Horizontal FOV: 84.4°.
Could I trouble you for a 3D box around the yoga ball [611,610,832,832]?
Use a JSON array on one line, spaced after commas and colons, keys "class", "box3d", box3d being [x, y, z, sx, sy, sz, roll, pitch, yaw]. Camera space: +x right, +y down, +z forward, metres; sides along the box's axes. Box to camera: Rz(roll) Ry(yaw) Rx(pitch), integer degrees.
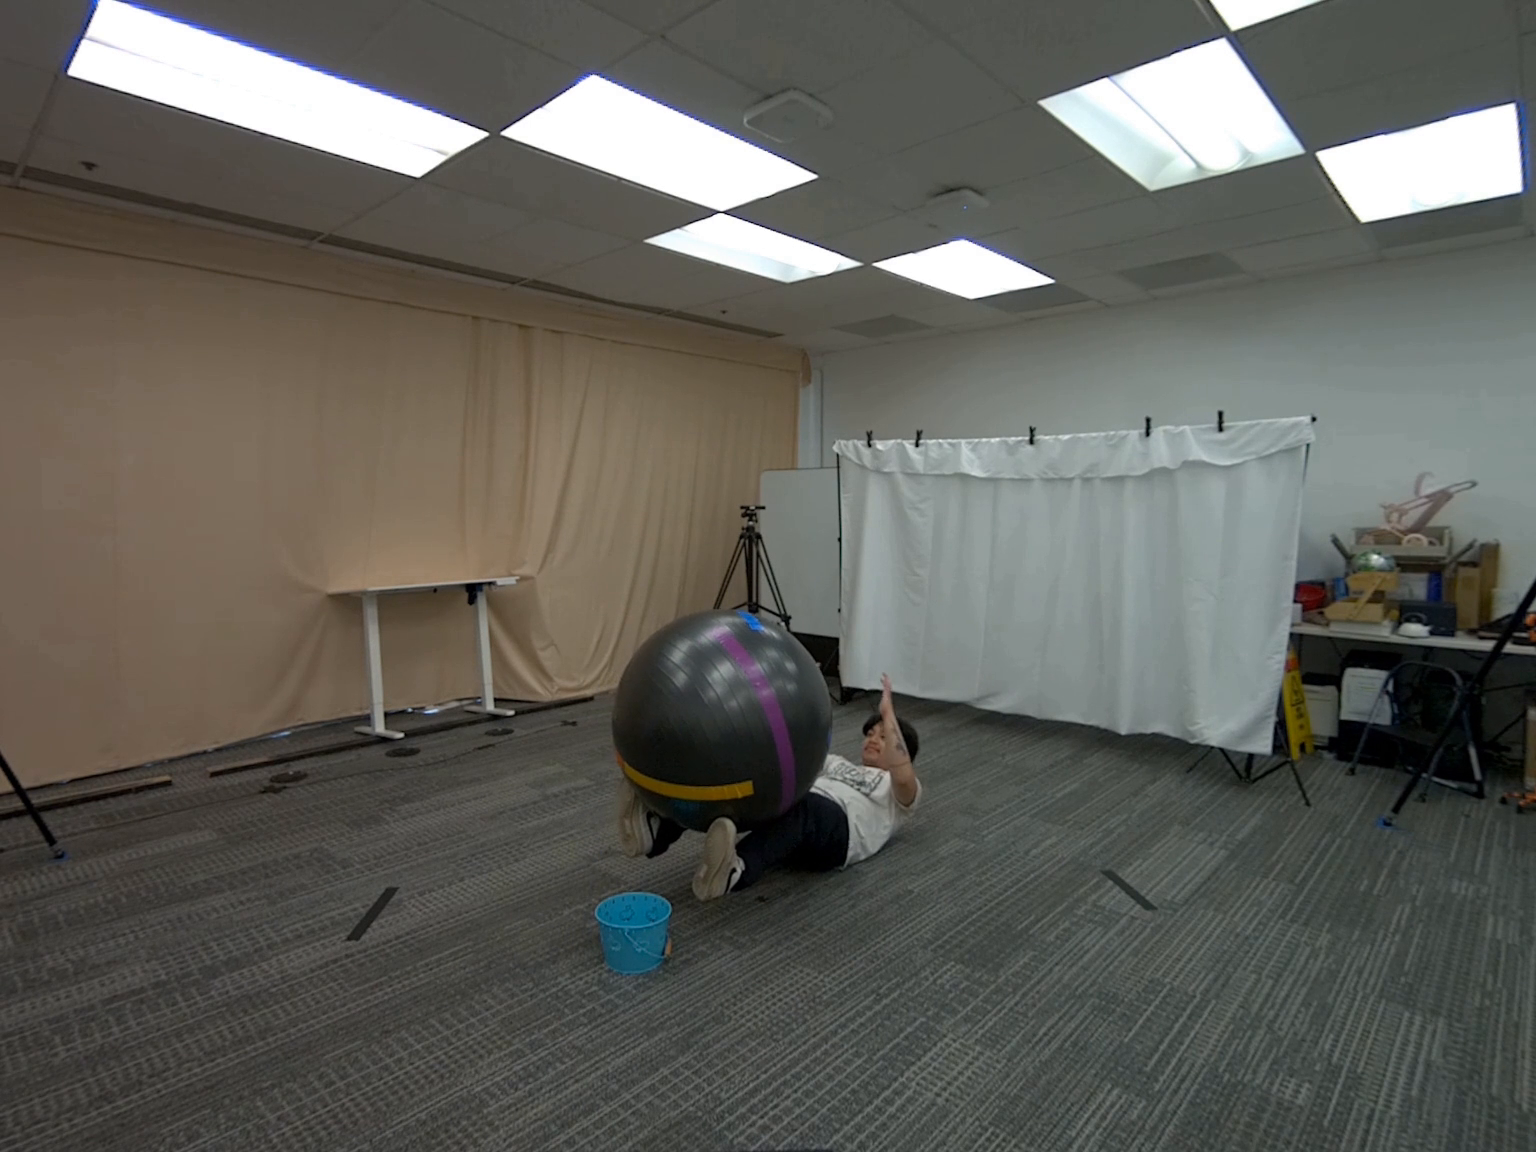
[{"class": "yoga ball", "box3d": [-0.164, 0.492, 2.908, 0.757, 0.756, 0.760, 0, 4, -2]}]
